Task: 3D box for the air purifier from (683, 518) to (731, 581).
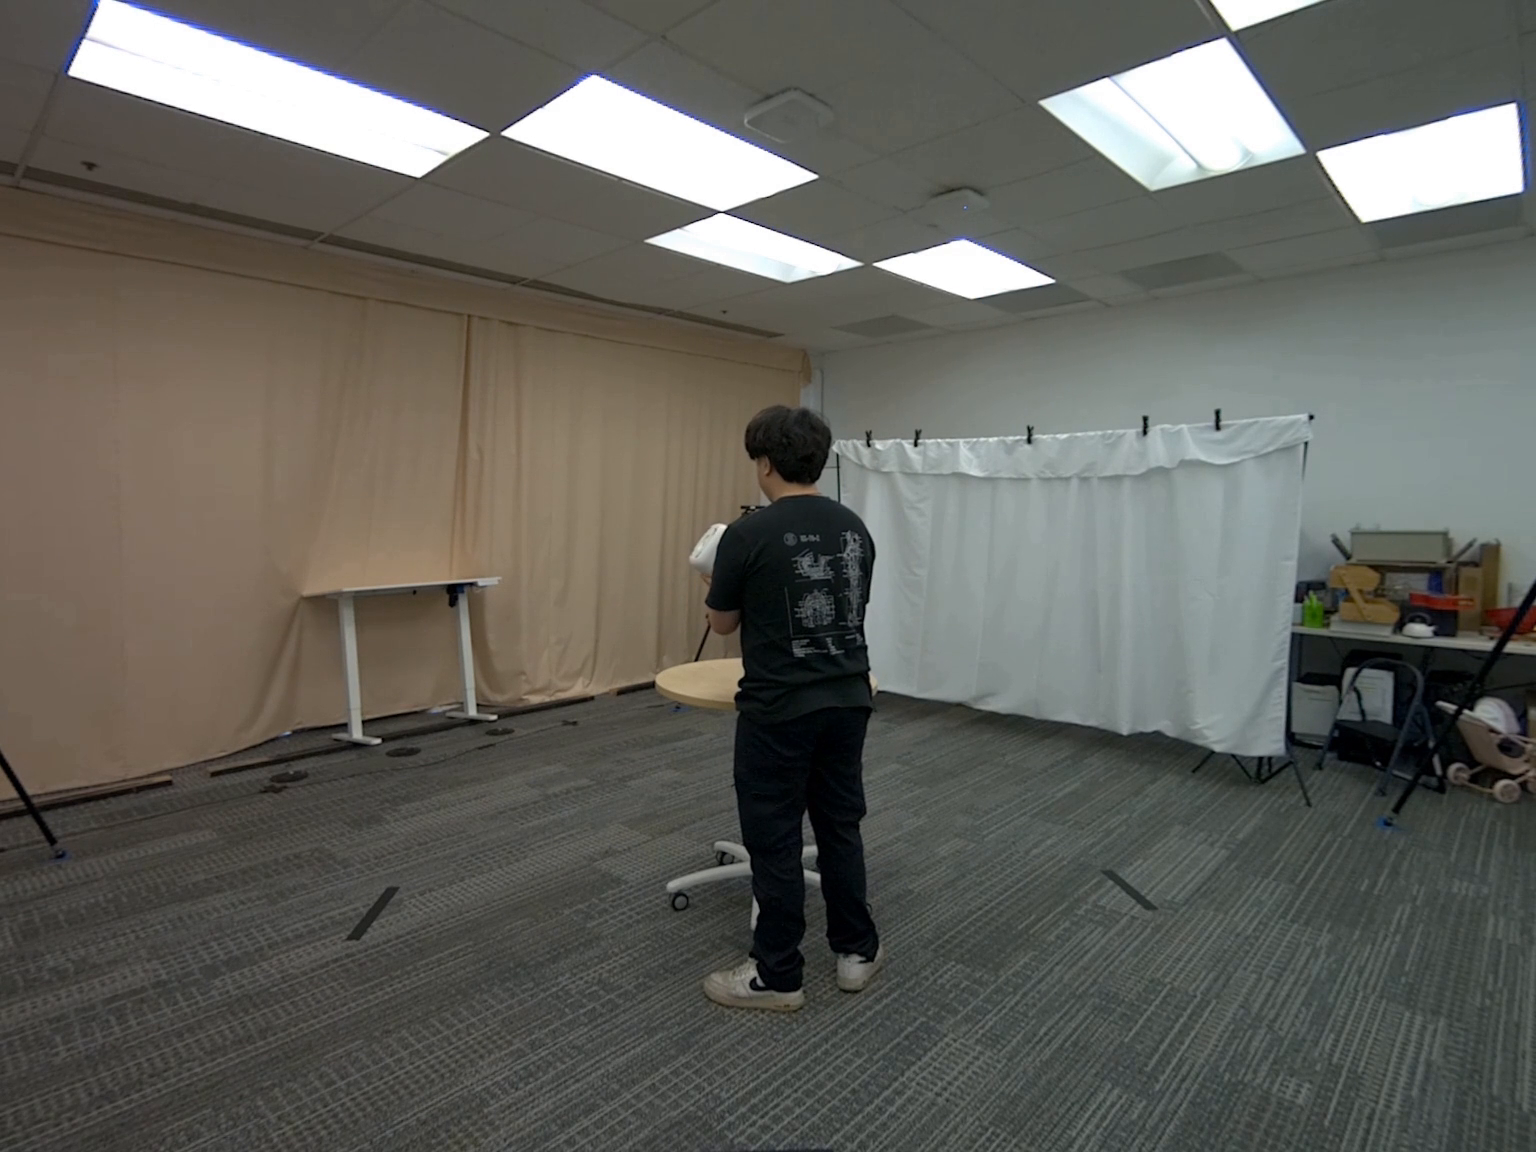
[{"bbox_3d":[-0.103,-0.037,2.735,0.261,0.171,0.174,36,-4,-13],"label":"air purifier"}]
